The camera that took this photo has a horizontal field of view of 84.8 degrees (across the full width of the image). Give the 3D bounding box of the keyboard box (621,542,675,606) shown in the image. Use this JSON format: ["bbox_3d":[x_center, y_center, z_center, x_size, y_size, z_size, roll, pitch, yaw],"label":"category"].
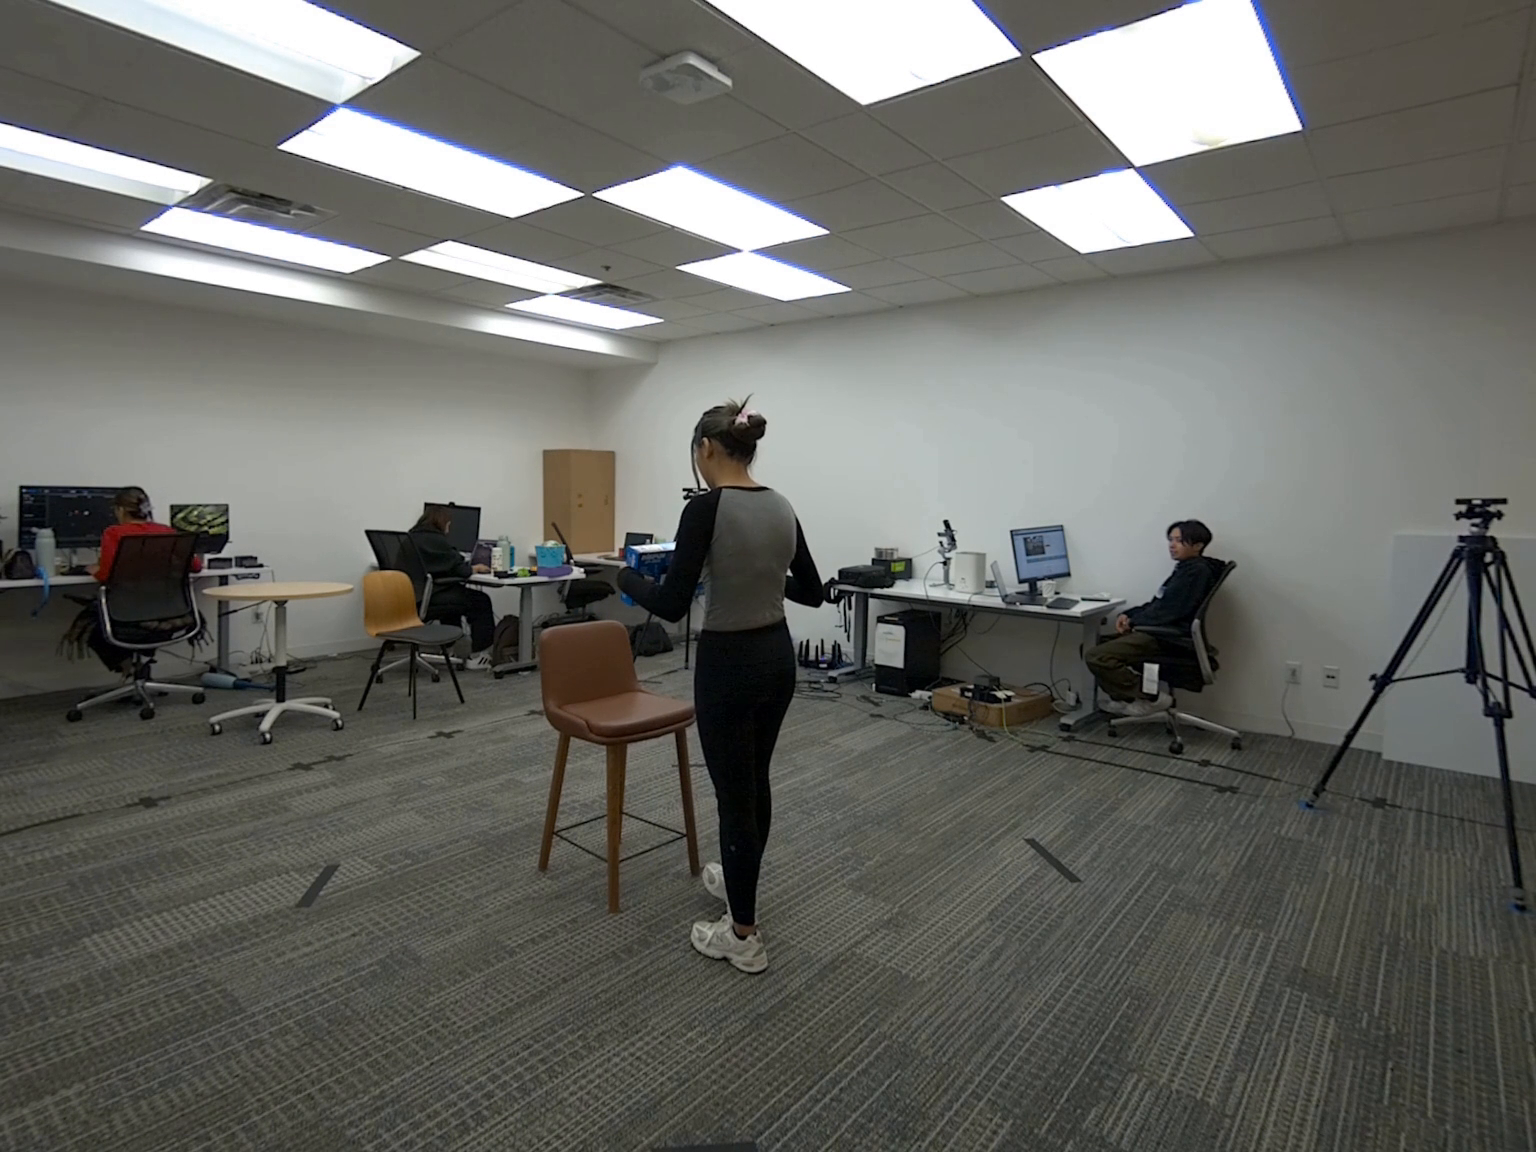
[{"bbox_3d":[-0.273,-0.020,2.676,0.425,0.174,0.061,-8,22,-43],"label":"keyboard box"}]
